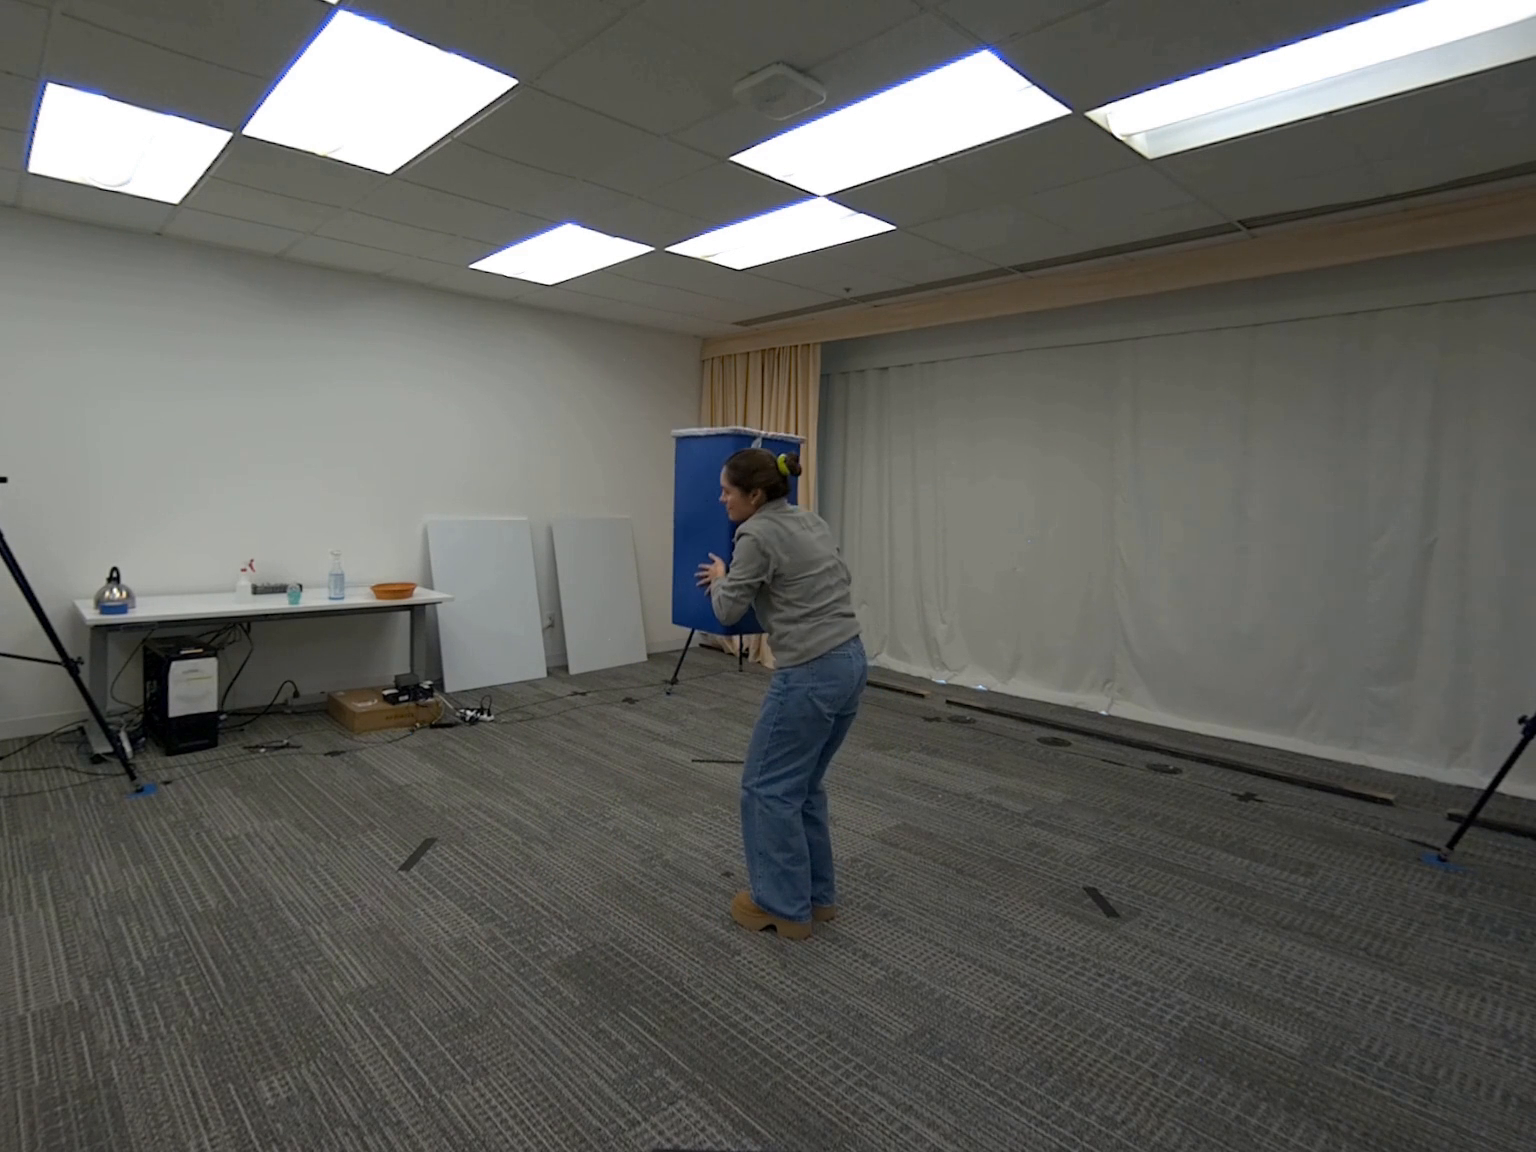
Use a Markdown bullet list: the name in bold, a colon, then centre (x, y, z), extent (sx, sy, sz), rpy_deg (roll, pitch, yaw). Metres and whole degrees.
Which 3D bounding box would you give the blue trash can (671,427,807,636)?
- **blue trash can**: centre (-0.143, -0.160, 3.093), extent (0.384, 0.712, 0.369), rpy_deg (7, 3, 43)
